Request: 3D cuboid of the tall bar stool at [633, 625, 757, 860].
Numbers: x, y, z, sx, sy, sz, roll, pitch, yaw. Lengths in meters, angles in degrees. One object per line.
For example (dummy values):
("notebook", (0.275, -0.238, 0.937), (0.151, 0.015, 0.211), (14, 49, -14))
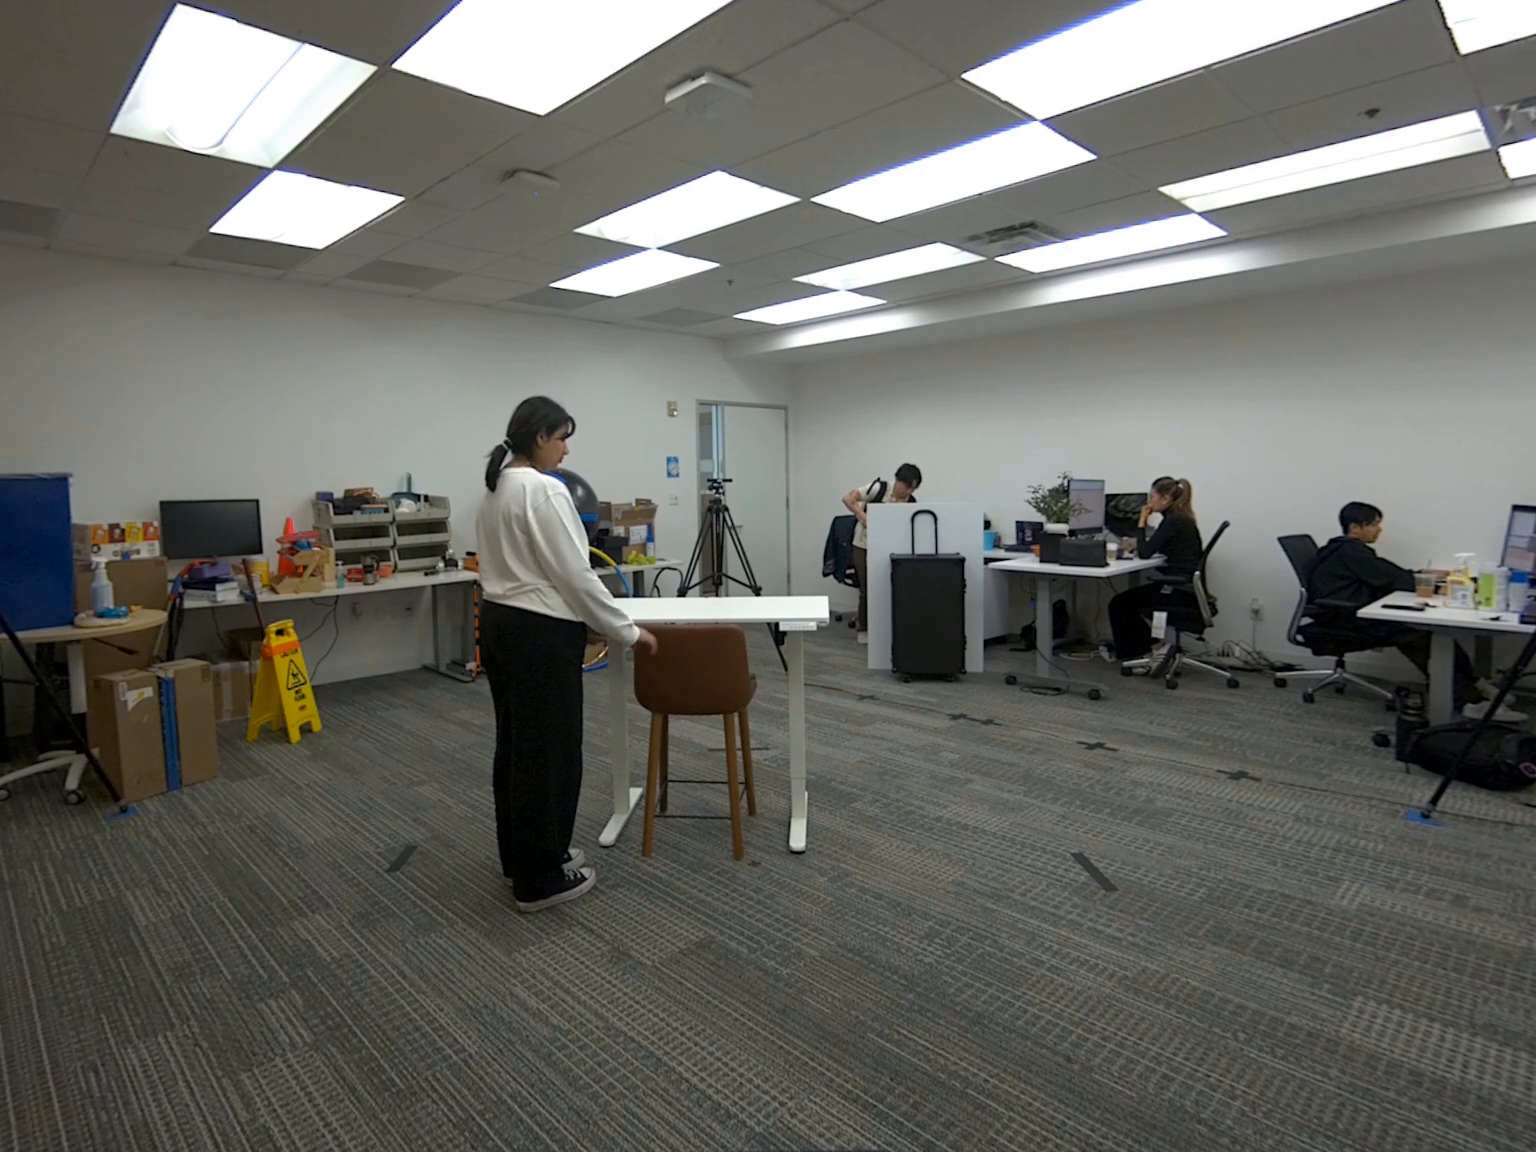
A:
("tall bar stool", (-0.283, 0.592, 3.347), (0.460, 0.886, 0.466), (0, 5, 7))
